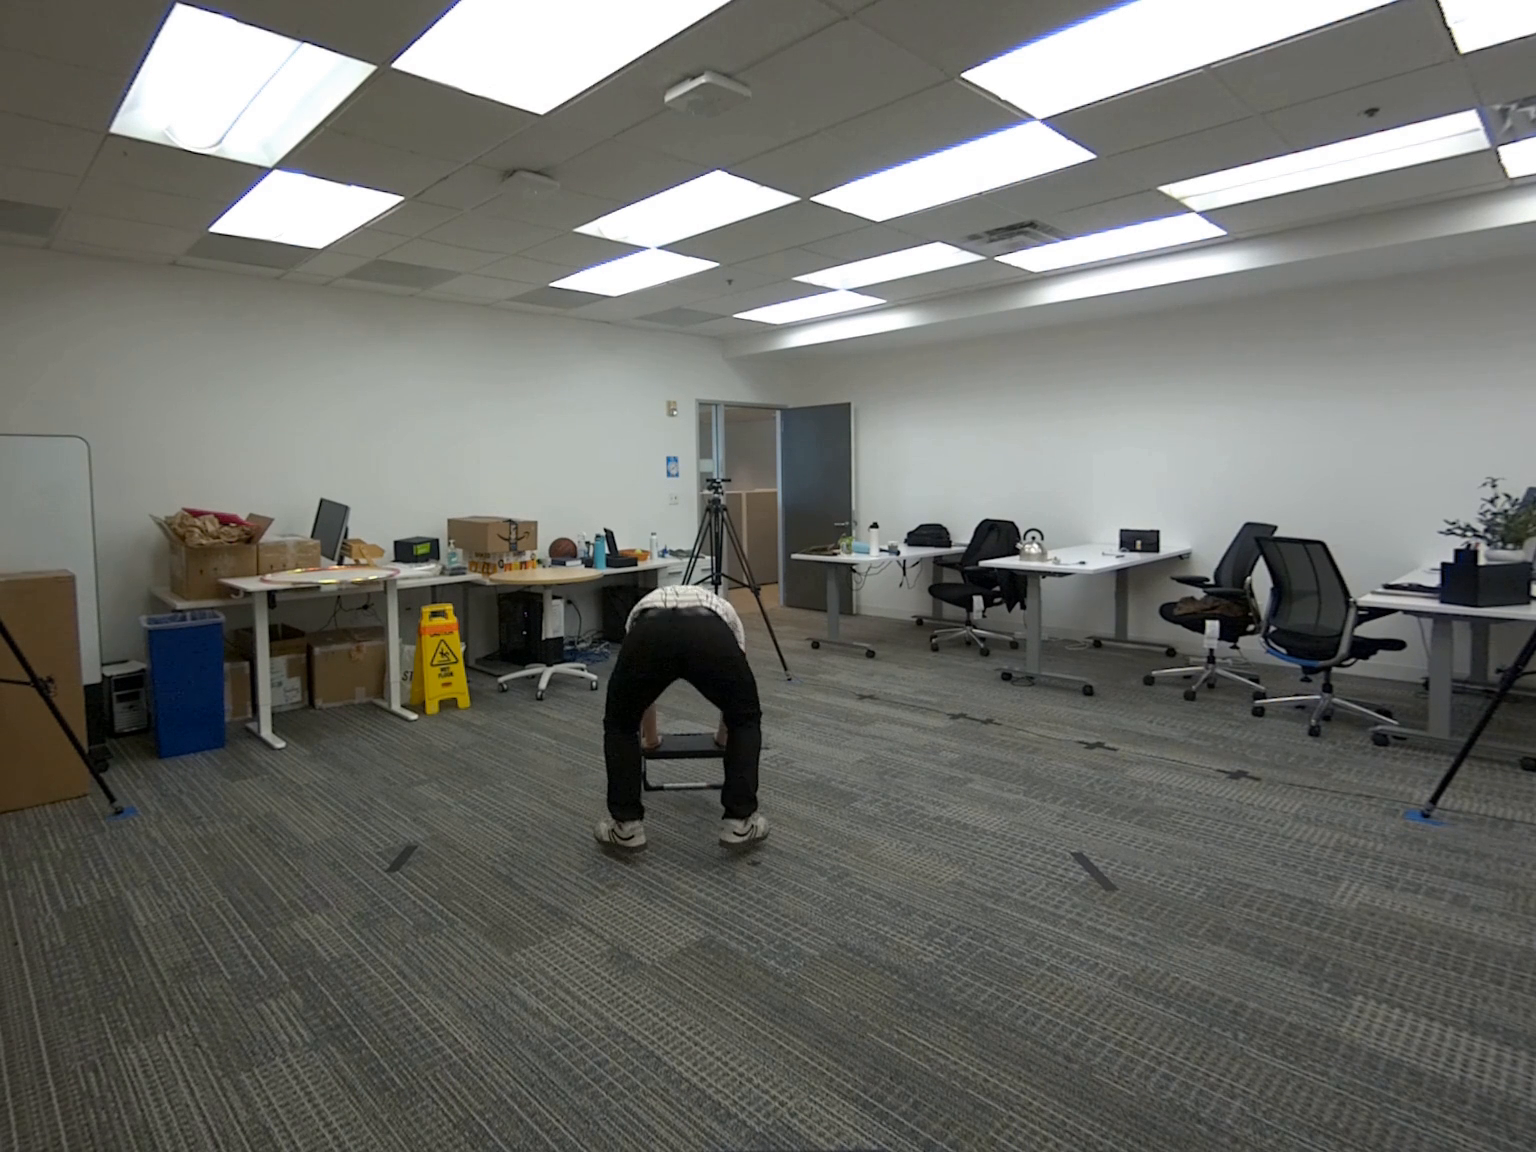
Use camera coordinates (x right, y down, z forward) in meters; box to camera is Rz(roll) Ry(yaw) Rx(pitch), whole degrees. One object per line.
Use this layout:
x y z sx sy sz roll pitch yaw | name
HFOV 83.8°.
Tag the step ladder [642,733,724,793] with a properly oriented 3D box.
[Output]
-0.354 0.683 3.702 0.429 0.604 0.351 -1 4 -3 | step ladder
